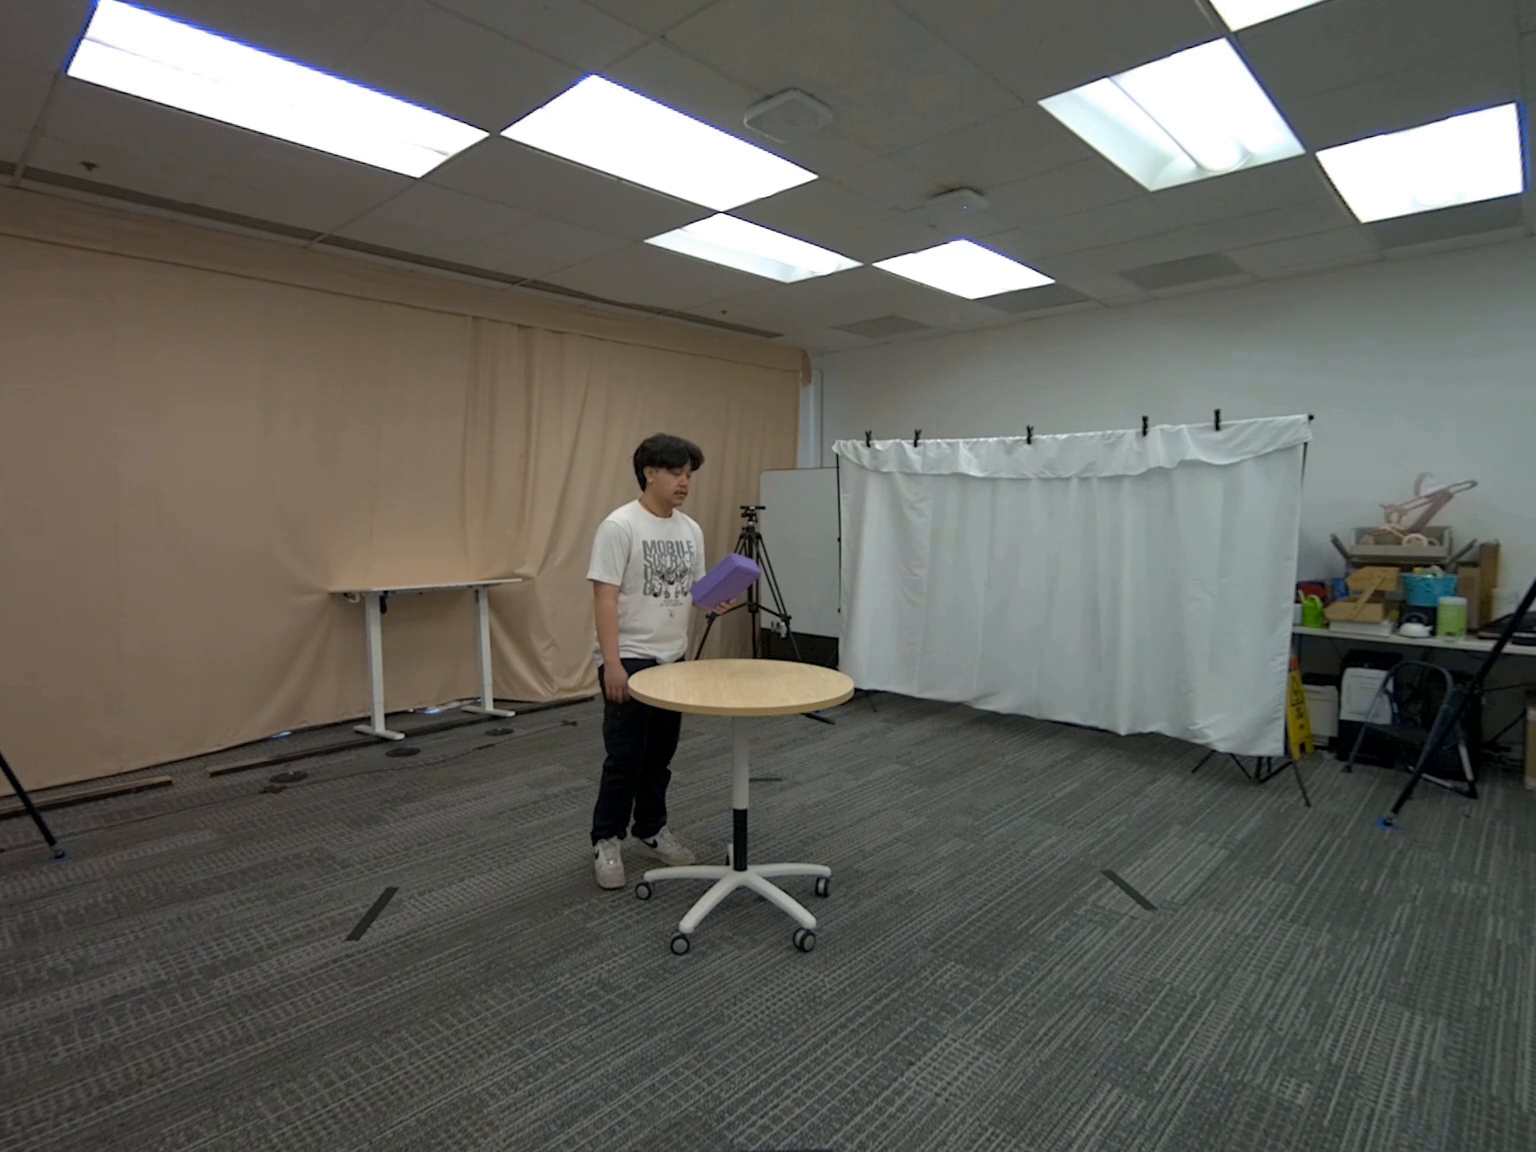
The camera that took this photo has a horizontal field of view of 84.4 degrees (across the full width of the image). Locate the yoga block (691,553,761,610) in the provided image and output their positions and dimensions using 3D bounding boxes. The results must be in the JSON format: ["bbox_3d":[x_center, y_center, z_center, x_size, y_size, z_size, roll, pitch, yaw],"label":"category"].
[{"bbox_3d":[-0.164,0.021,3.062,0.231,0.078,0.144,-40,-32,23],"label":"yoga block"}]
